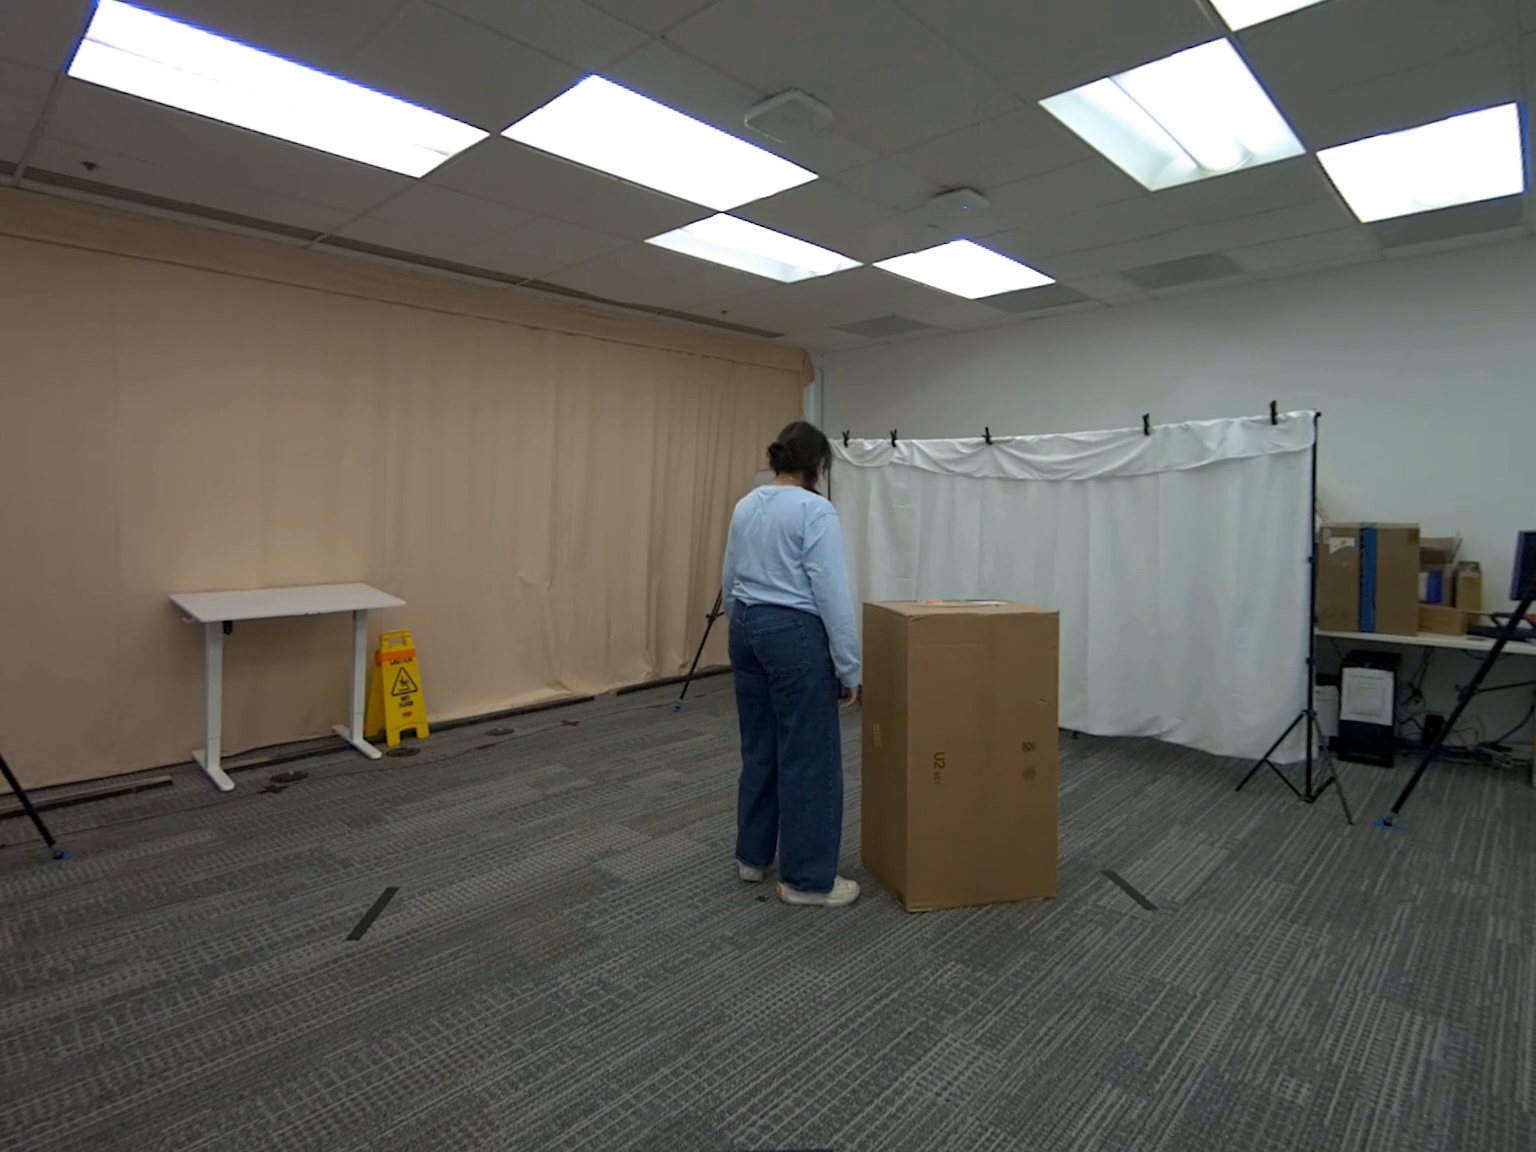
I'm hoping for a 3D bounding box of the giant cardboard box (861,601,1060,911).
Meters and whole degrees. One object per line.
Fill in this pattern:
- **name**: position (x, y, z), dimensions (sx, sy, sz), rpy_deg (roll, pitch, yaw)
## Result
- **giant cardboard box**: position (0.702, 0.621, 3.112), dimensions (0.577, 1.026, 0.453), rpy_deg (-1, 2, -12)
